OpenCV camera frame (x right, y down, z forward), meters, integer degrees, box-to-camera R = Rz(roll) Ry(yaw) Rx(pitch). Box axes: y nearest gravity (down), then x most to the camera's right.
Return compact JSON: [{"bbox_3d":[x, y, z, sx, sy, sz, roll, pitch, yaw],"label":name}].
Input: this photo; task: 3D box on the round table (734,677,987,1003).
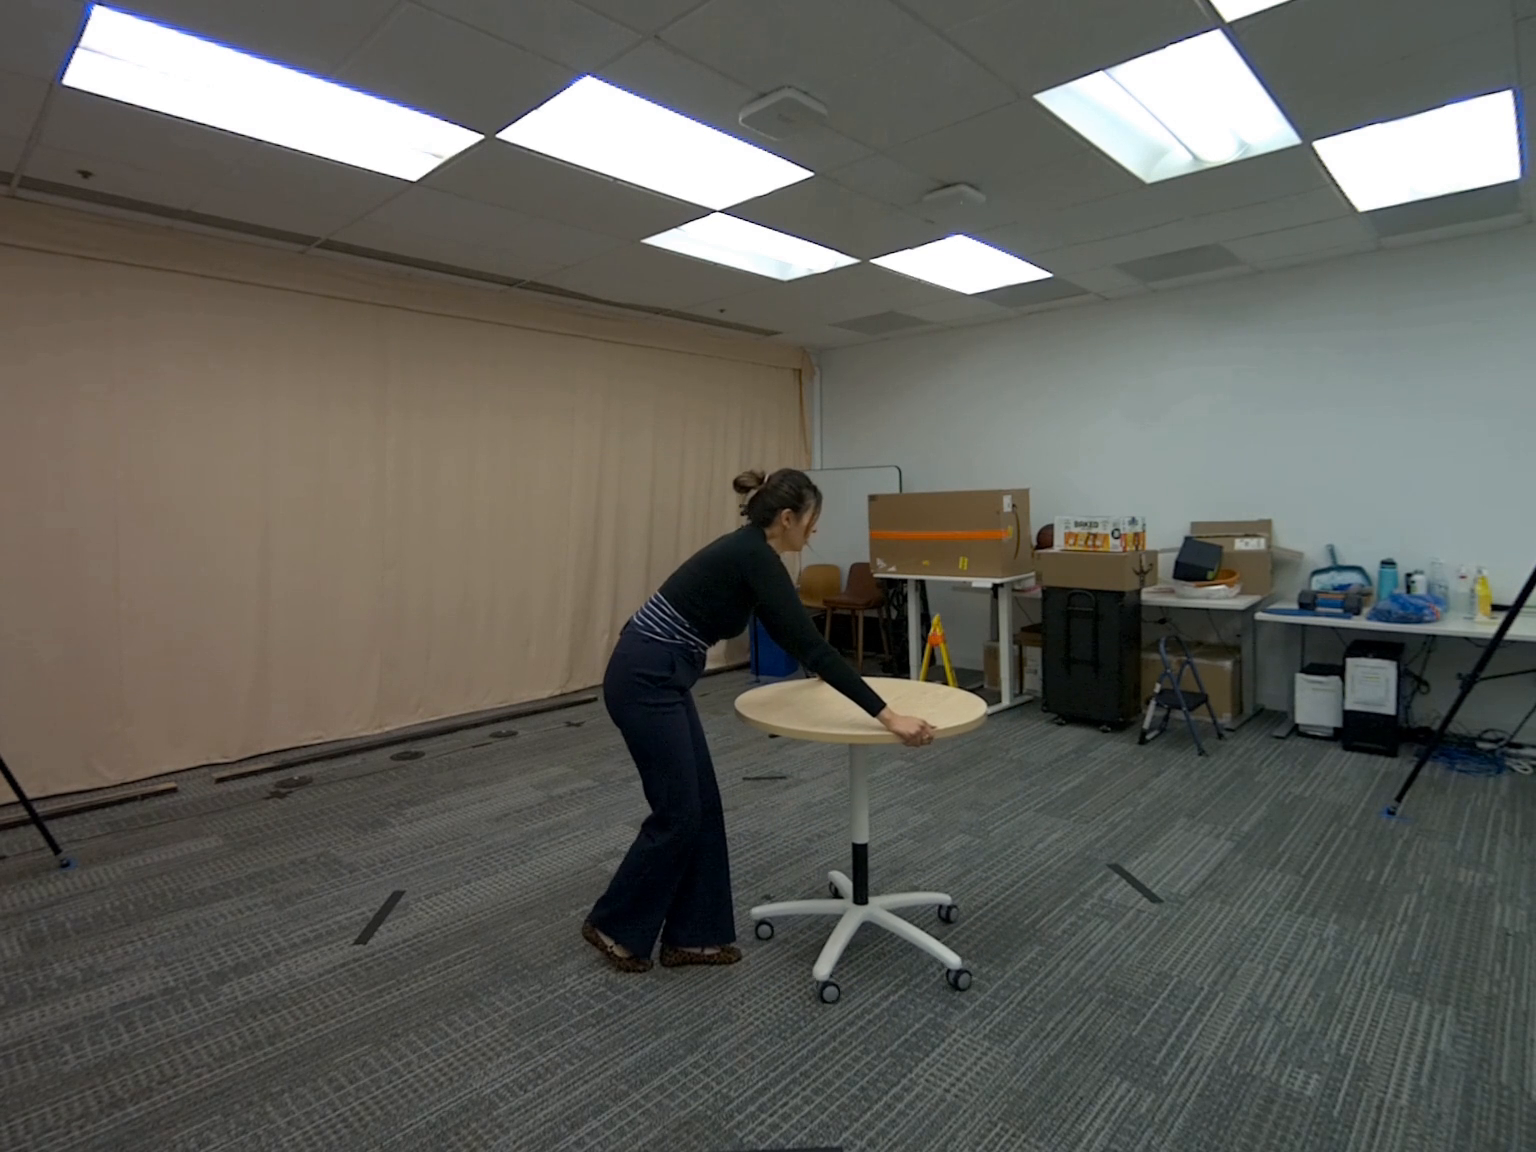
[{"bbox_3d":[0.298,0.781,2.630,0.763,0.792,0.767,-1,4,-2],"label":"round table"}]
